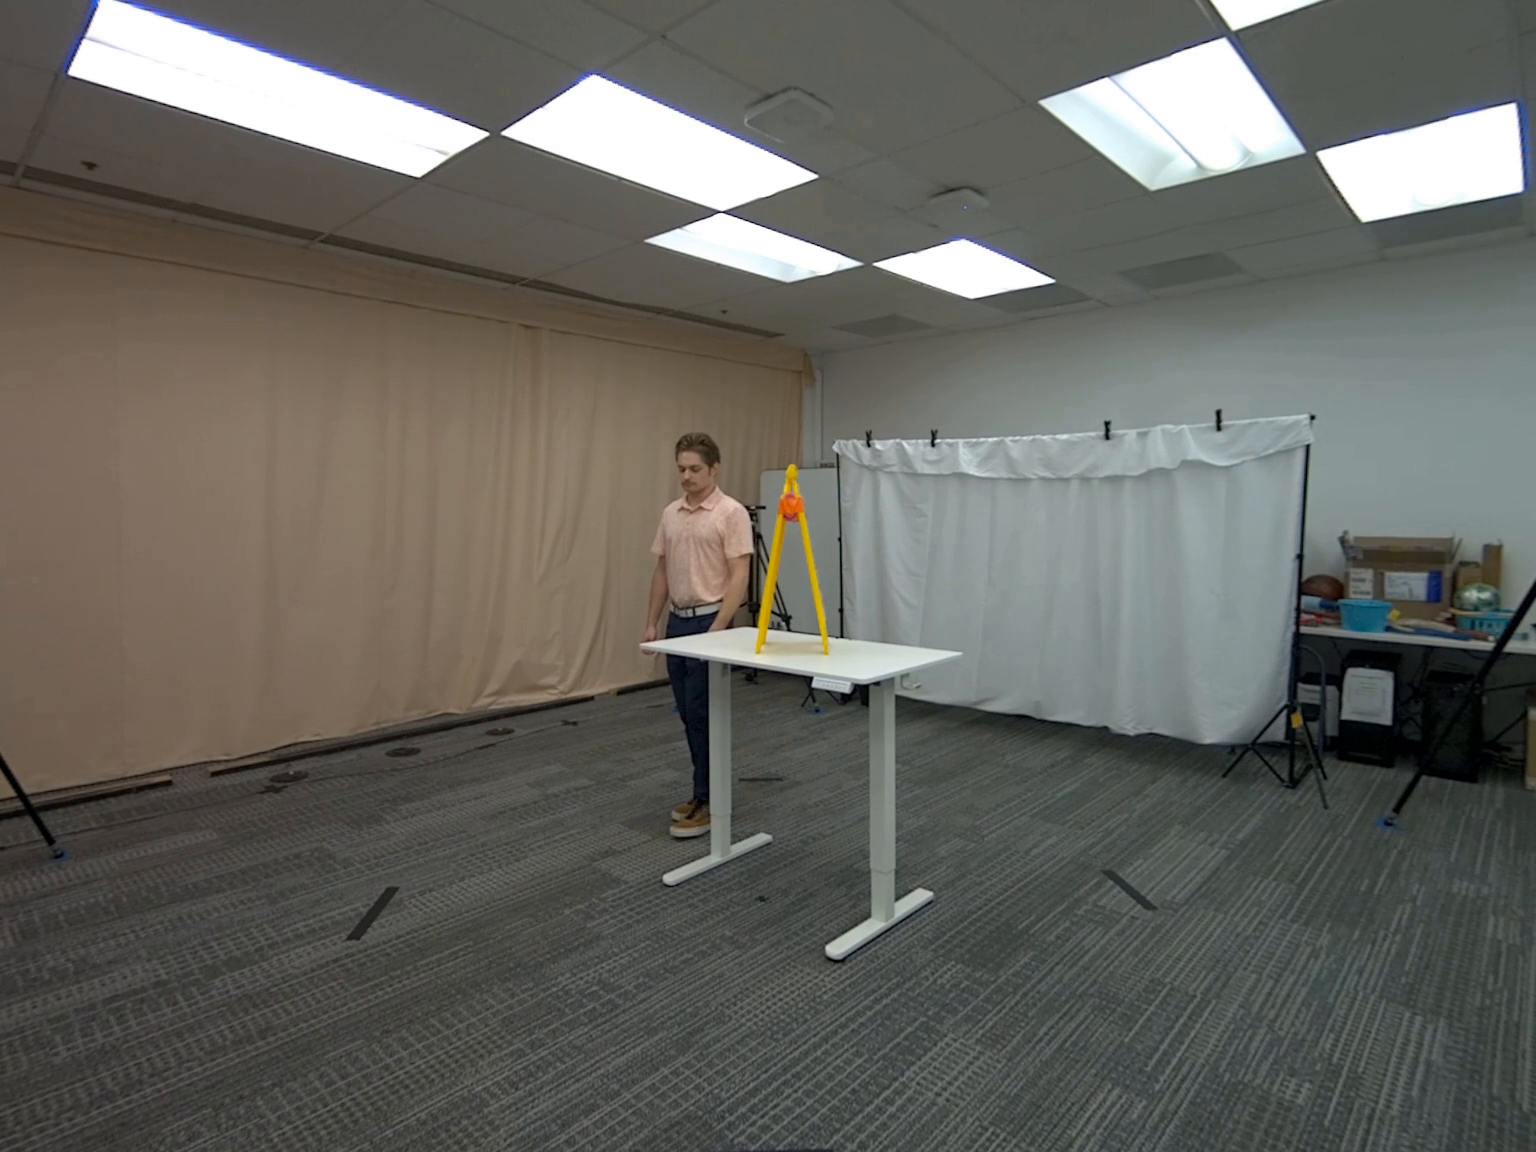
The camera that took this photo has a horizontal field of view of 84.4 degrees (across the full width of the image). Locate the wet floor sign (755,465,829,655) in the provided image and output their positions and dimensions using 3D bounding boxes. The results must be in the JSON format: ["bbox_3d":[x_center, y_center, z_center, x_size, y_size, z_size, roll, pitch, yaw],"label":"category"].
[{"bbox_3d":[0.091,-0.065,3.003,0.291,0.645,0.281,-1,2,4],"label":"wet floor sign"}]
